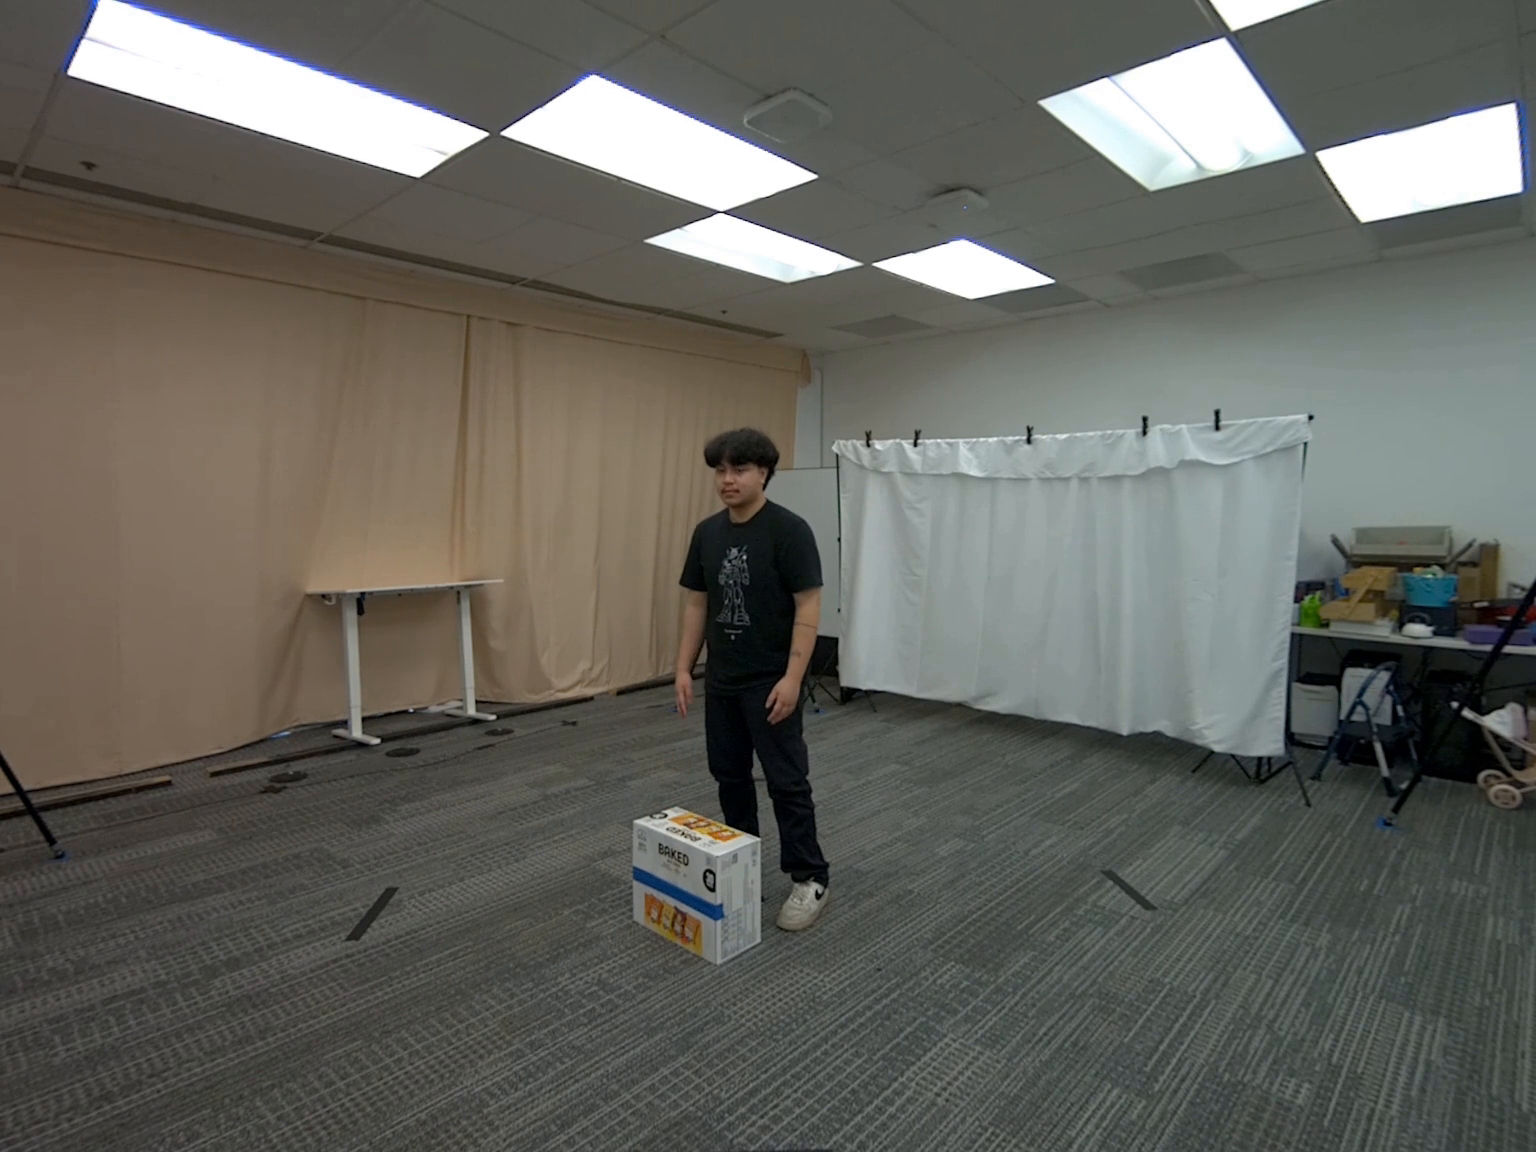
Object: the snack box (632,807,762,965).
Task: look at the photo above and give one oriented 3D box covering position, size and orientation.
[{"bbox_3d":[-0.234,0.995,2.750,0.419,0.339,0.199,4,5,44],"label":"snack box"}]
